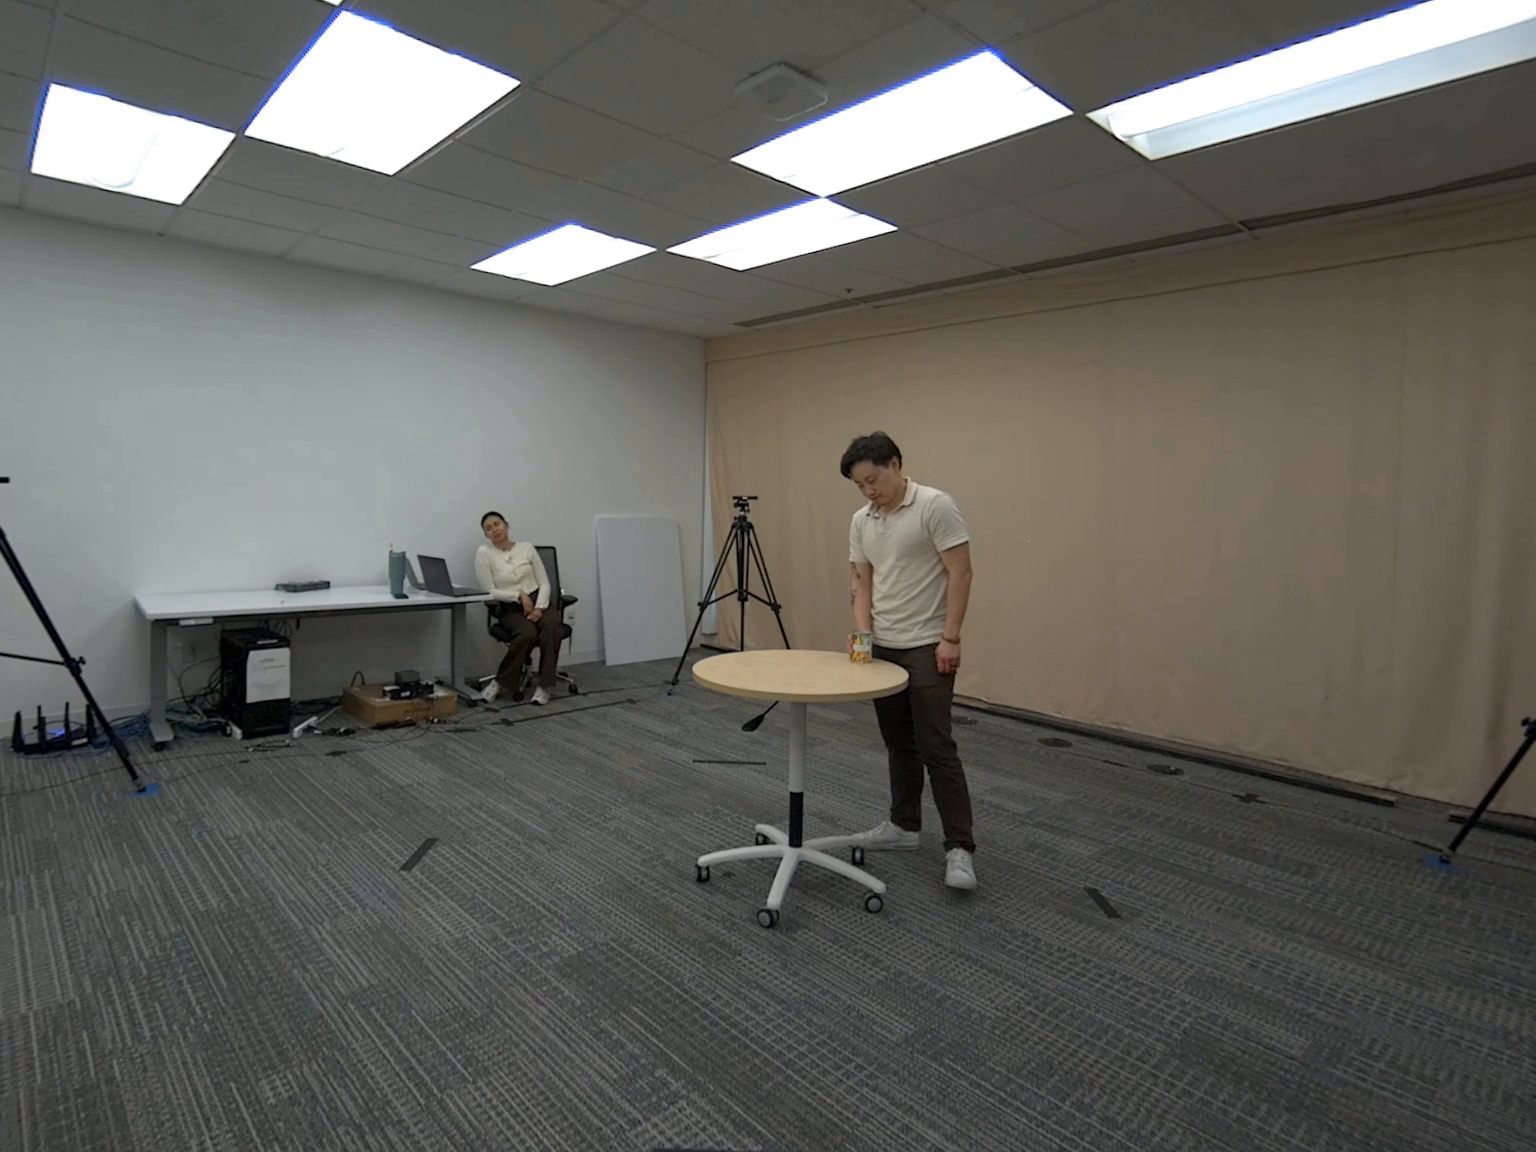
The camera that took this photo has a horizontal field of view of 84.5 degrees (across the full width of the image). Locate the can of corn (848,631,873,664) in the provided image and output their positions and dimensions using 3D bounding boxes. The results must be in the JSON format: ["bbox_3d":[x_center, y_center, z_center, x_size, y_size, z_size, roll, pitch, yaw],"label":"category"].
[{"bbox_3d":[0.336,0.264,3.171,0.074,0.111,0.074,2,1,-1],"label":"can of corn"}]
